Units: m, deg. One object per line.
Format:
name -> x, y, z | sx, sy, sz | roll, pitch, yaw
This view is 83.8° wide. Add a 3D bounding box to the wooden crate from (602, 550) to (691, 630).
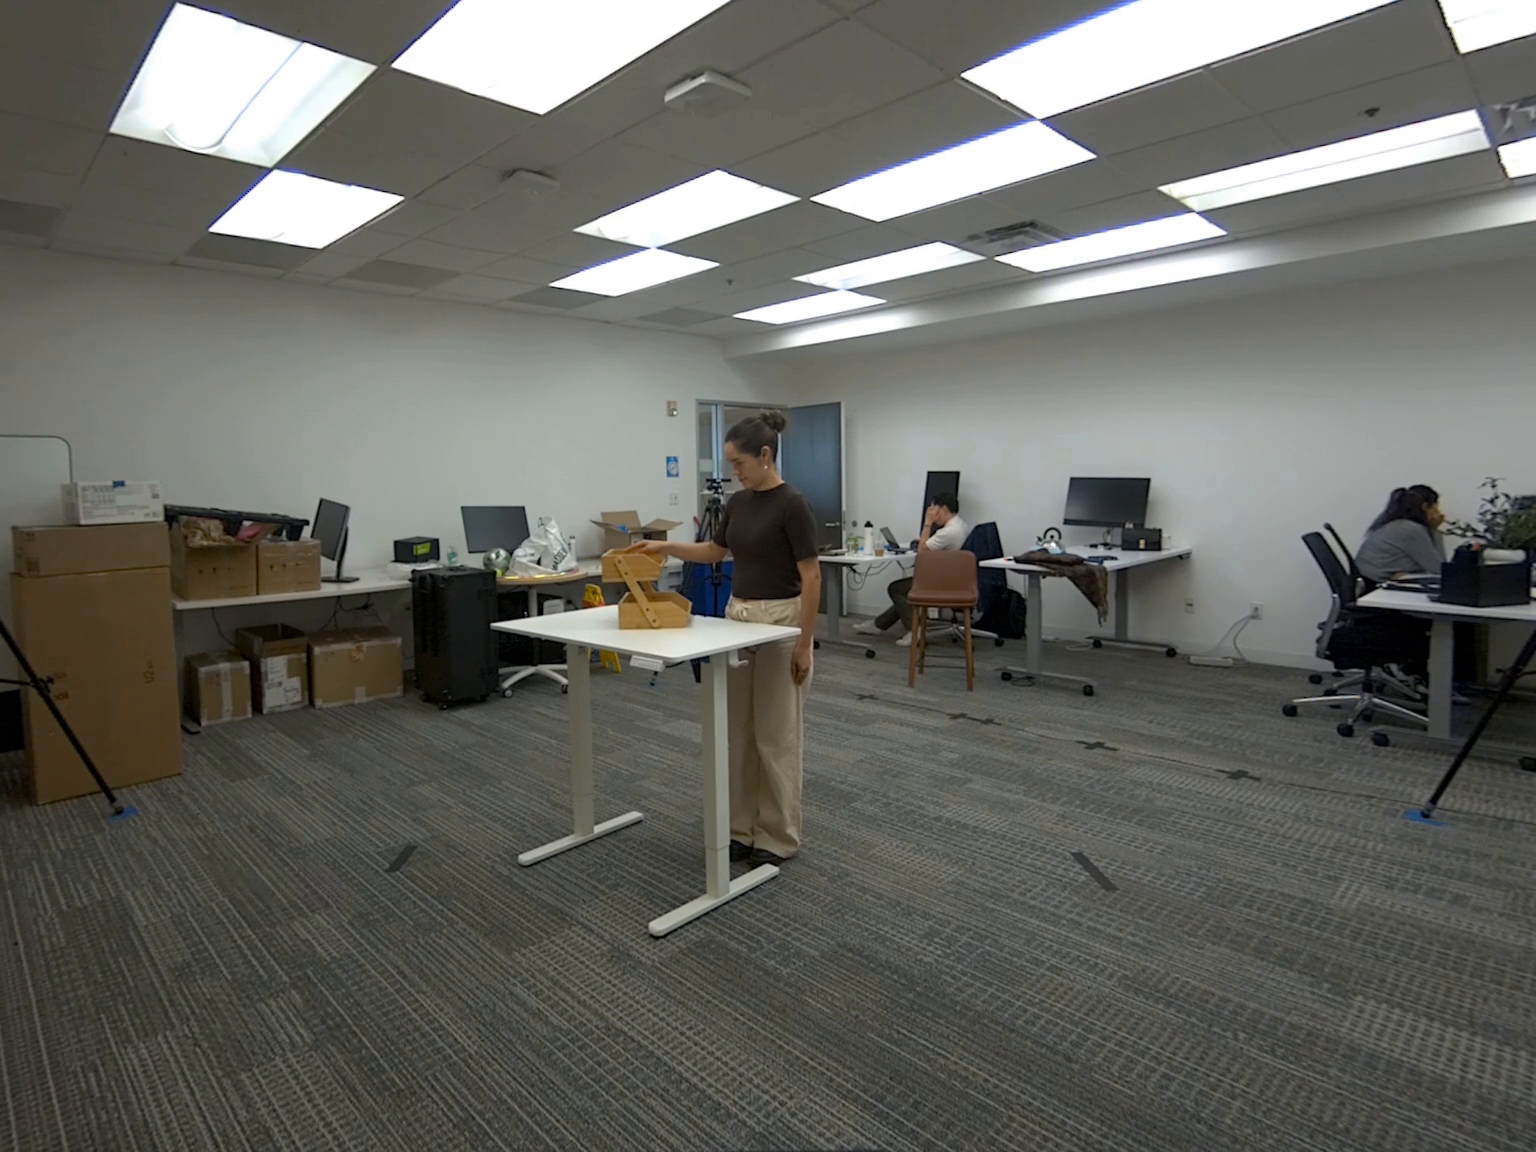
wooden crate -> -0.433, 0.038, 3.112 | 0.301, 0.272, 0.326 | -2, 4, -3
